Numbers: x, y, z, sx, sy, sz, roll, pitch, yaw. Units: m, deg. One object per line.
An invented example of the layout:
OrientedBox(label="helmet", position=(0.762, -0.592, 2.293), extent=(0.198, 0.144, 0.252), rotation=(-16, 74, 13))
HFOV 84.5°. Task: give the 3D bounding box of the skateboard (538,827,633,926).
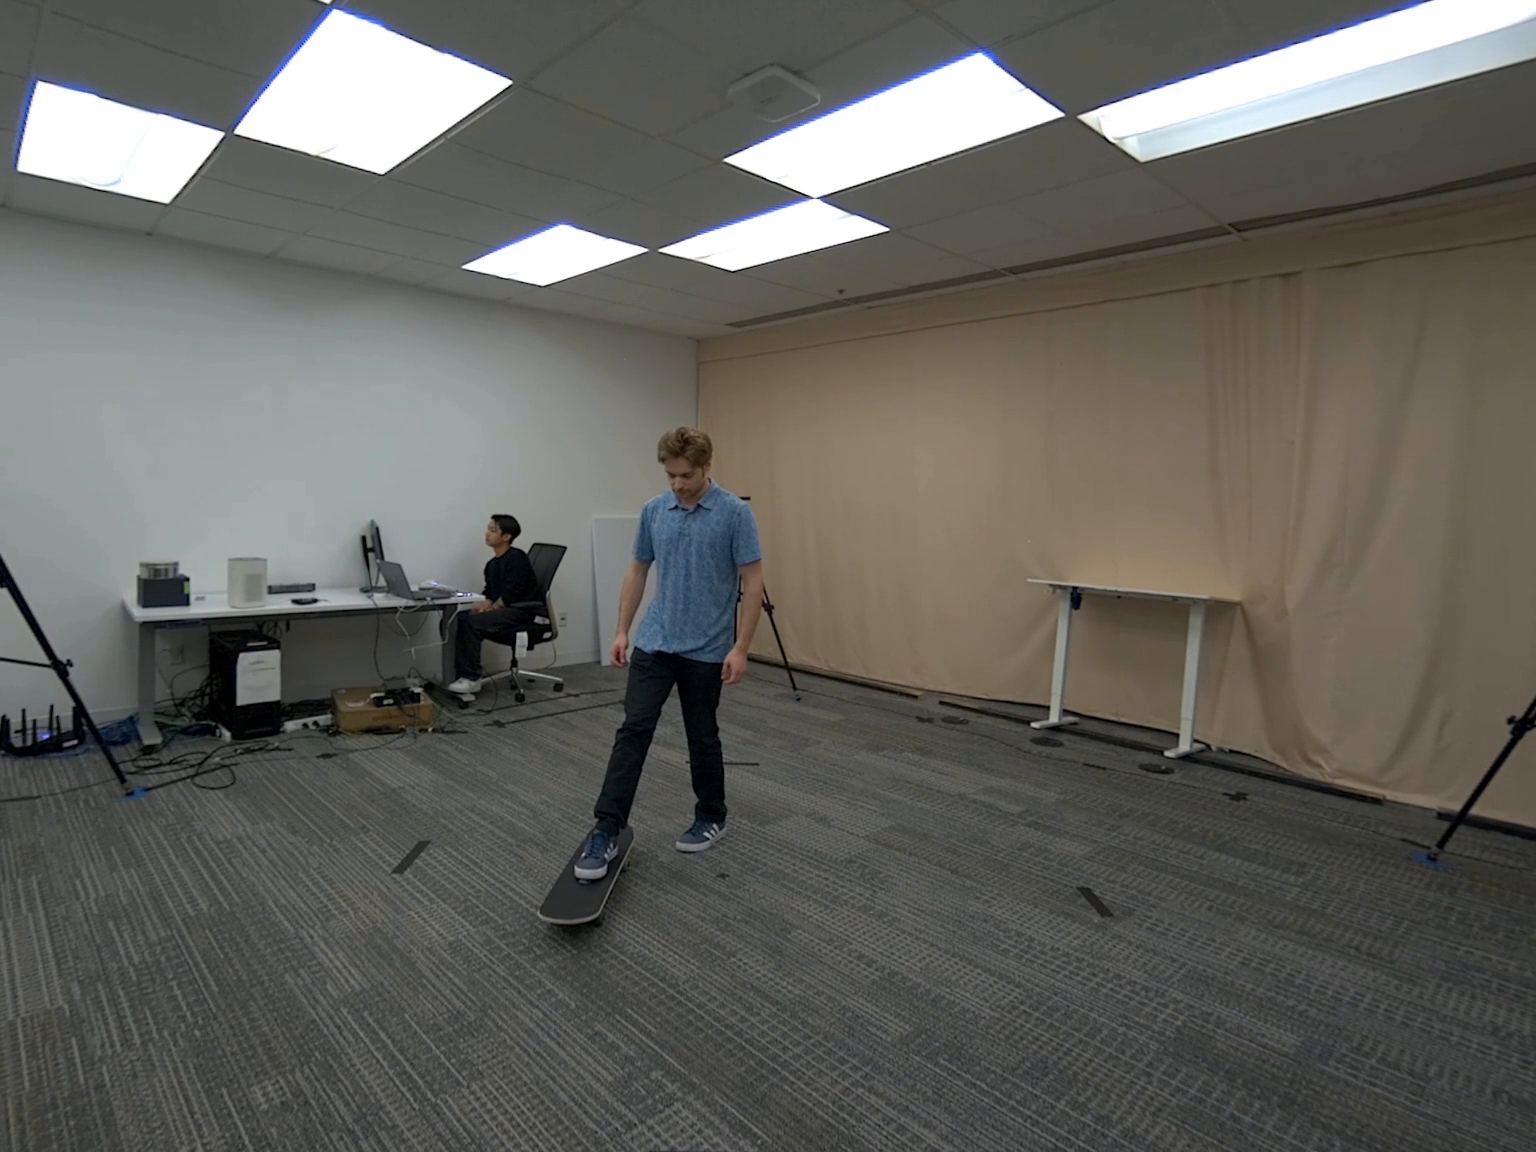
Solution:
OrientedBox(label="skateboard", position=(-0.618, 1.053, 2.941), extent=(0.194, 0.110, 0.786), rotation=(3, 6, 2))
